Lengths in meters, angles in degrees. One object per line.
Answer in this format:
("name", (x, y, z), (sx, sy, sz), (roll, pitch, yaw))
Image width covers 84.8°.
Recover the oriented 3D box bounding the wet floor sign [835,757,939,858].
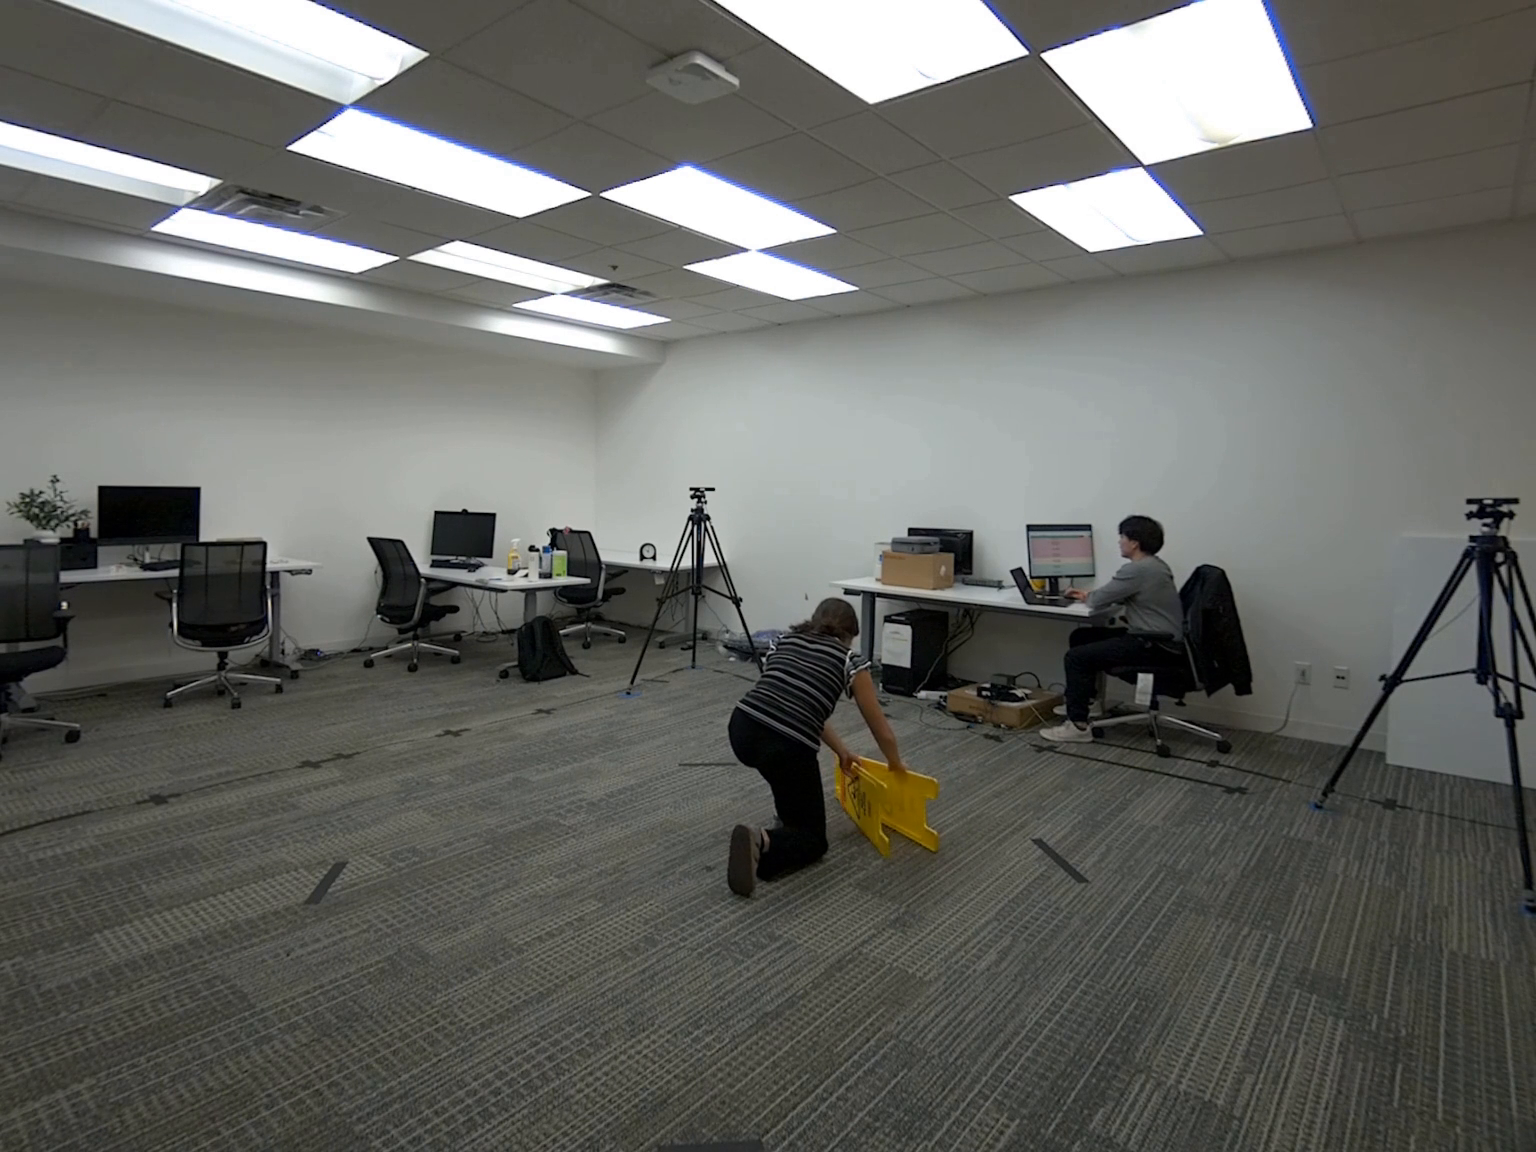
("wet floor sign", (0.421, 0.906, 3.564), (0.284, 0.282, 0.660), (0, 3, -21))
